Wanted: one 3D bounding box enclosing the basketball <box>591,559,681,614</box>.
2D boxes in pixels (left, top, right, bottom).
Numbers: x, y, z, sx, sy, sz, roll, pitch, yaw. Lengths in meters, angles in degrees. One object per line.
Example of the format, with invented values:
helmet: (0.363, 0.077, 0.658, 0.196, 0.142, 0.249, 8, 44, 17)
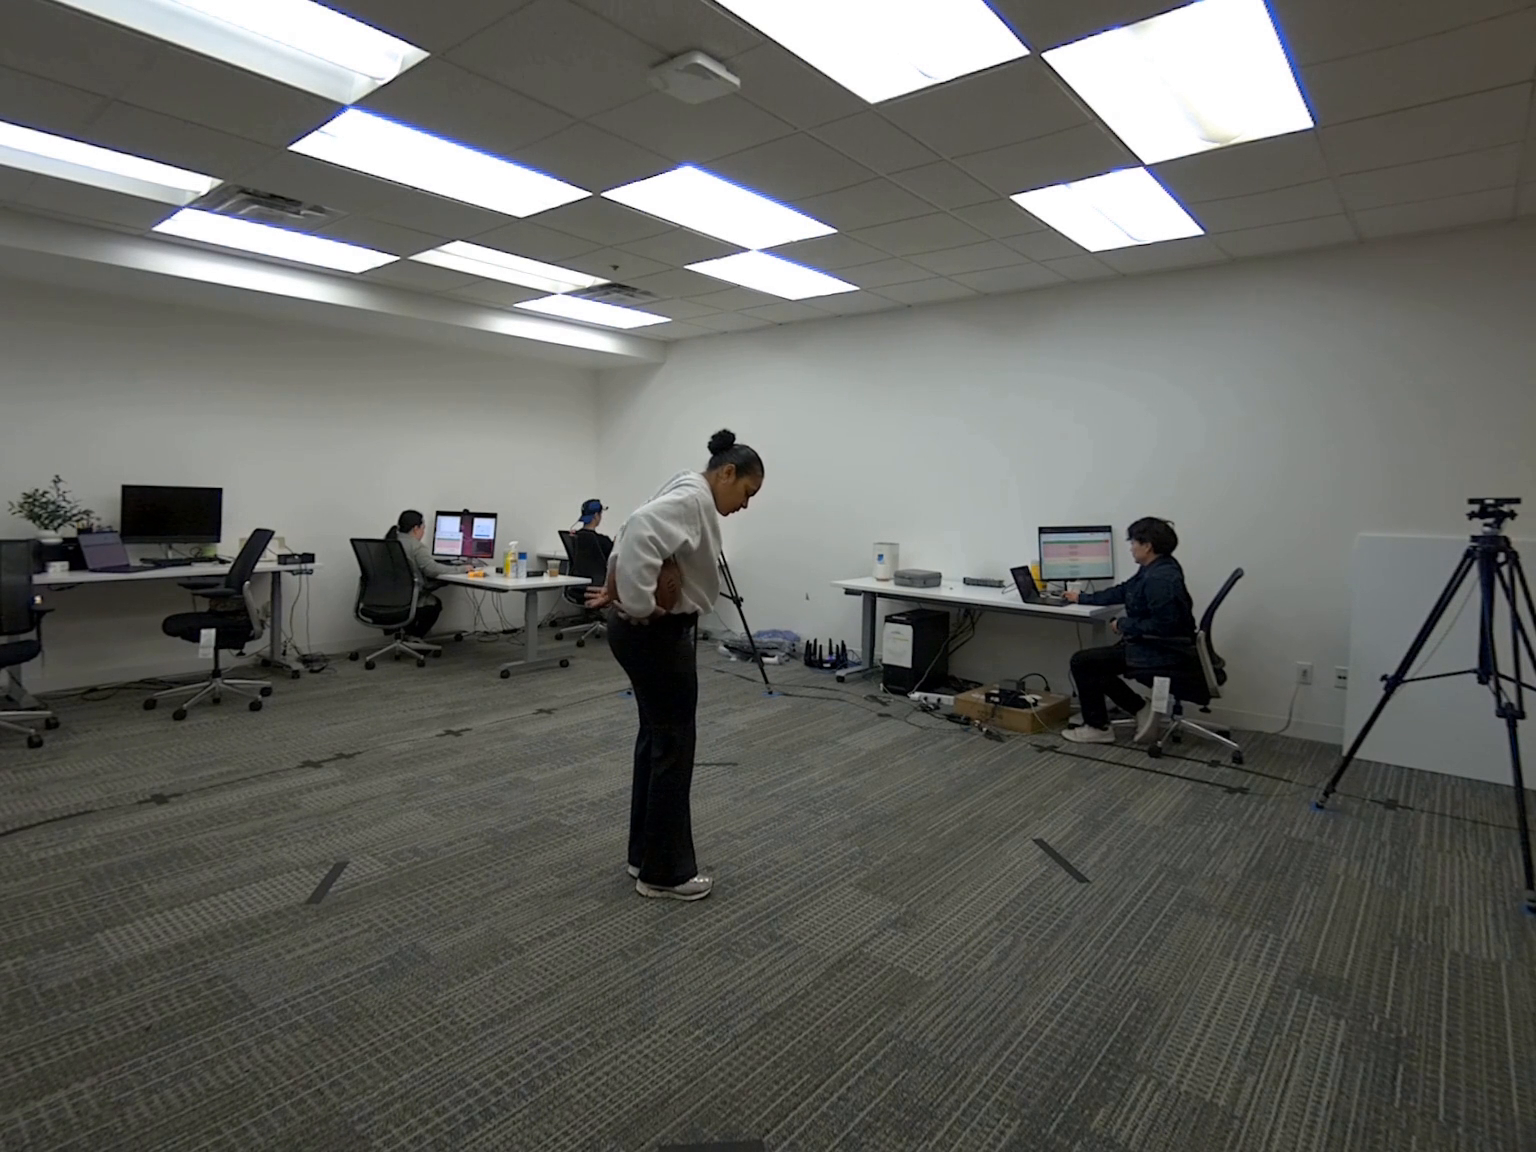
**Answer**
basketball: (-0.412, 0.026, 2.734, 0.235, 0.235, 0.237, 1, 4, -2)
